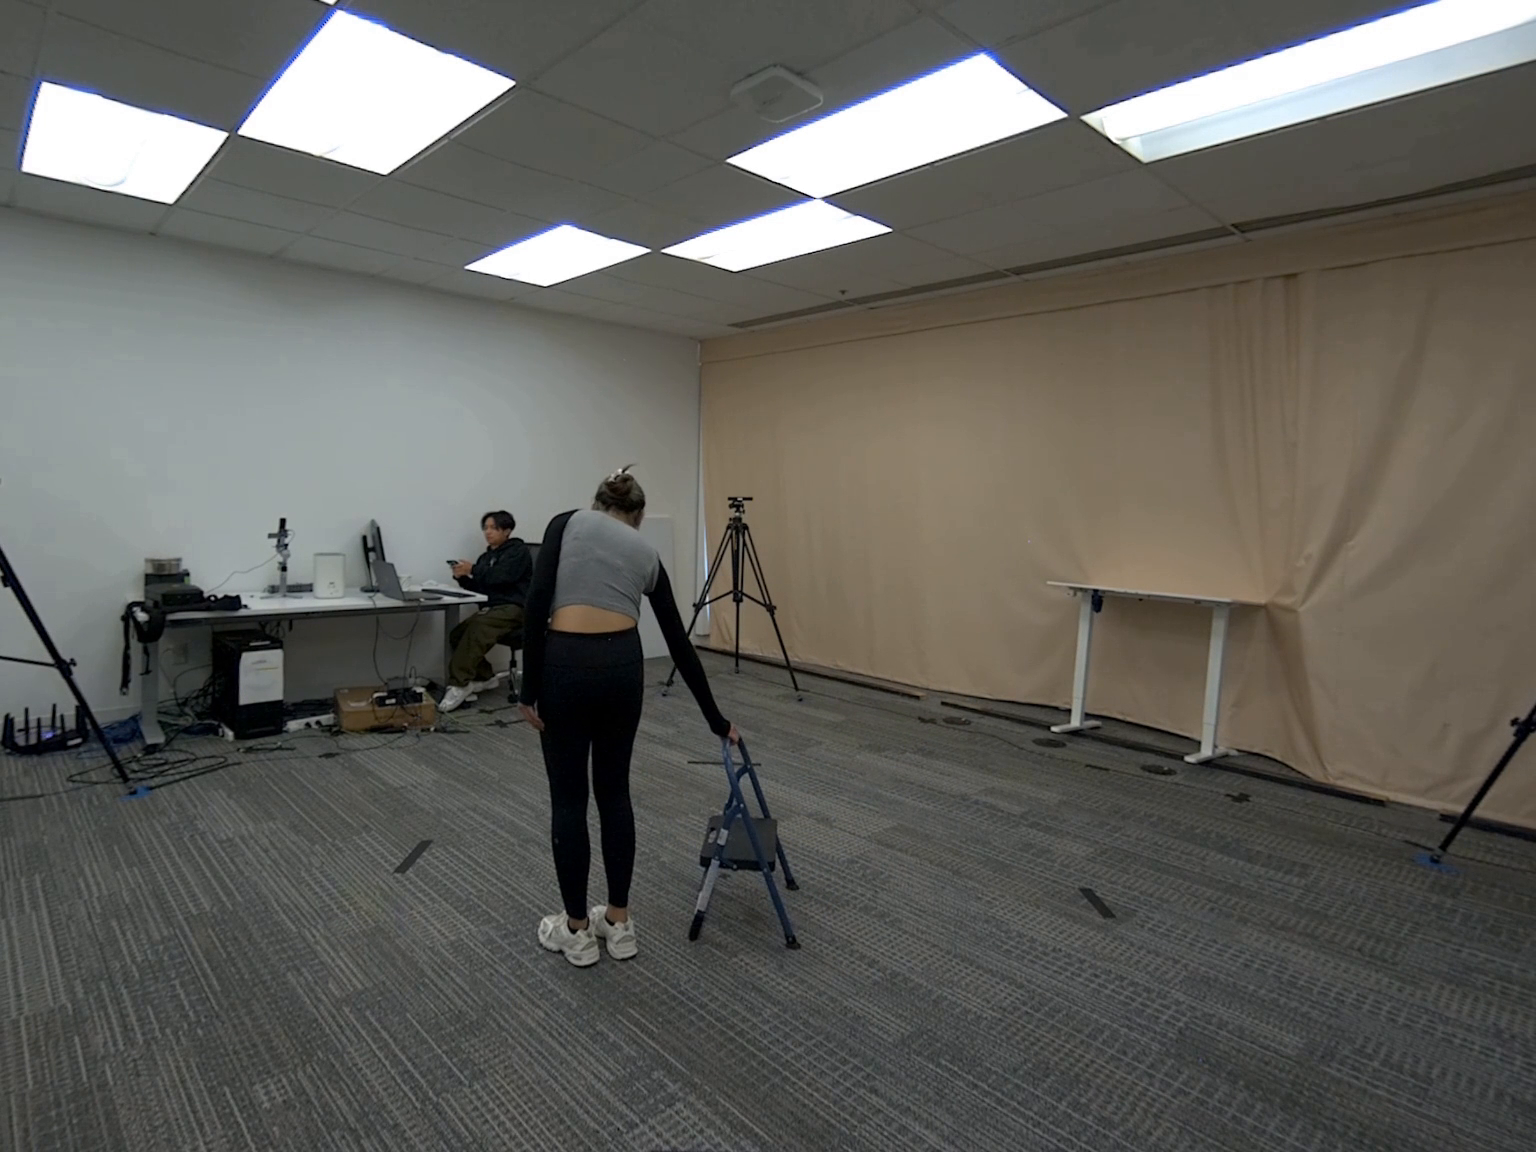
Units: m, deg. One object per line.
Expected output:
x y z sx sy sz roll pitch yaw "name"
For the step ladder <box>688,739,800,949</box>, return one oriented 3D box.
-0.074 0.833 2.816 0.350 0.605 0.431 2 3 2 "step ladder"
